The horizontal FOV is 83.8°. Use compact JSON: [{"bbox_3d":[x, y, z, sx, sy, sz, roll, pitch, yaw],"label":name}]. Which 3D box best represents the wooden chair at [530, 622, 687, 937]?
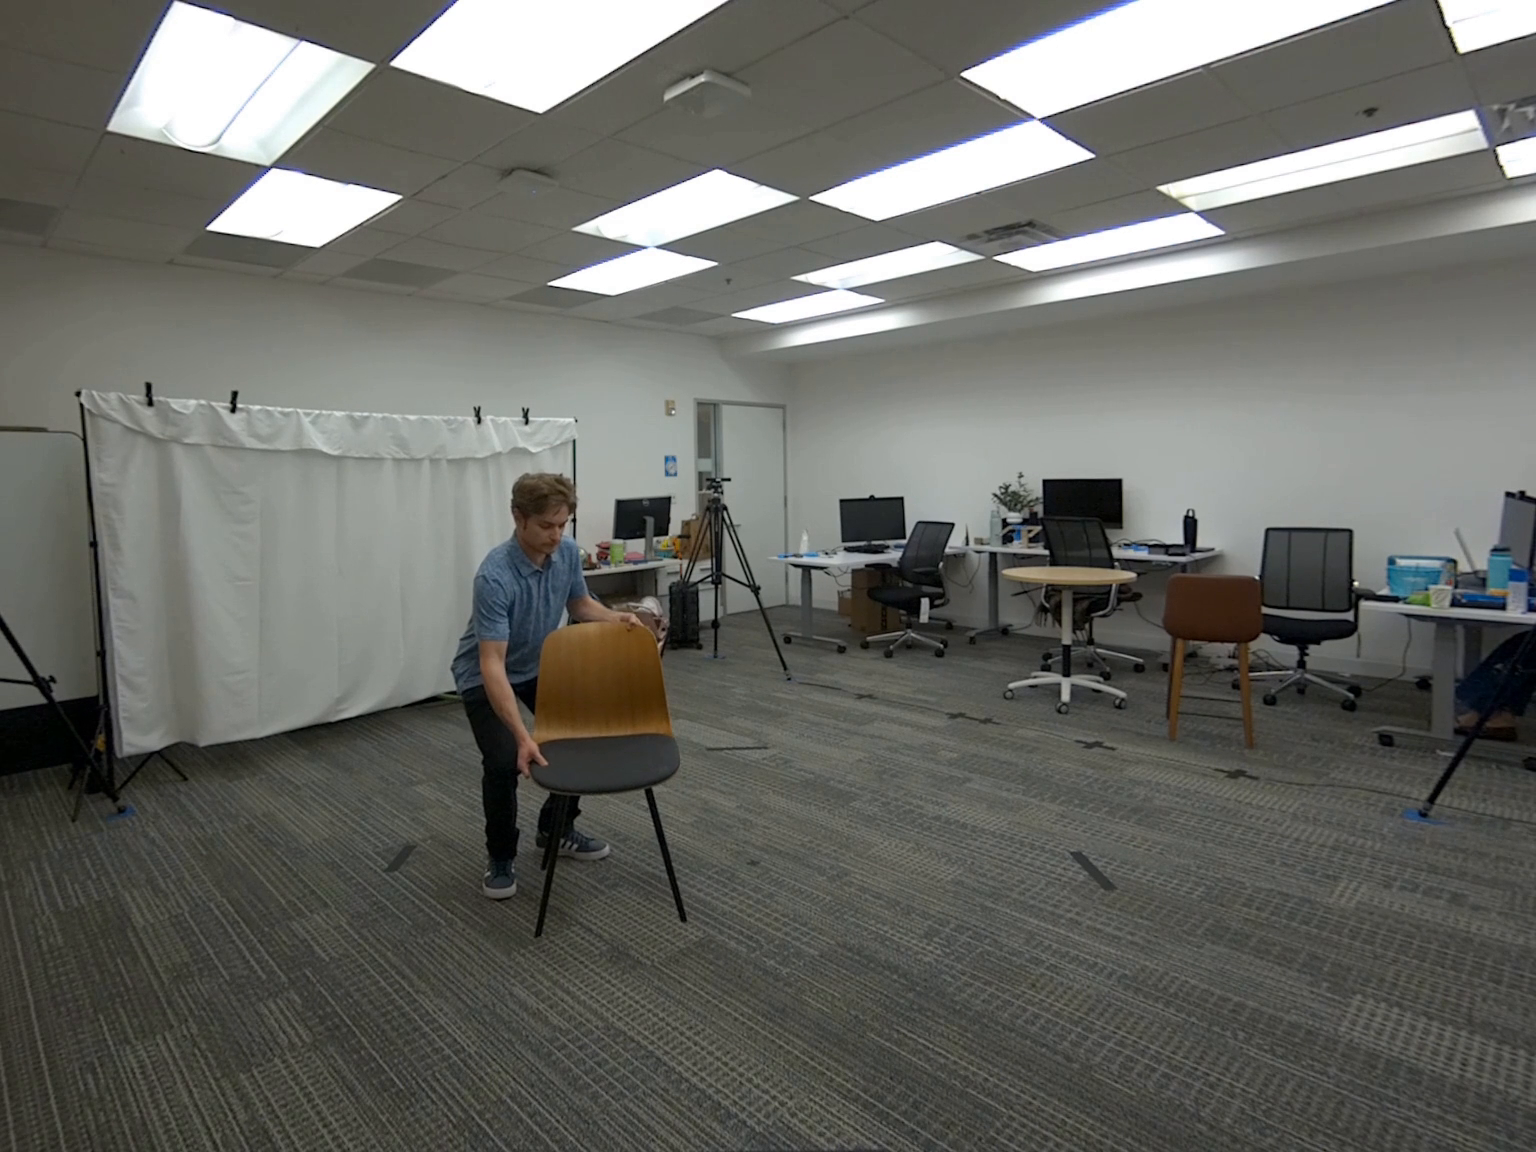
[{"bbox_3d":[-0.514,0.607,2.731,0.473,0.877,0.529,-2,0,-12],"label":"wooden chair"}]
